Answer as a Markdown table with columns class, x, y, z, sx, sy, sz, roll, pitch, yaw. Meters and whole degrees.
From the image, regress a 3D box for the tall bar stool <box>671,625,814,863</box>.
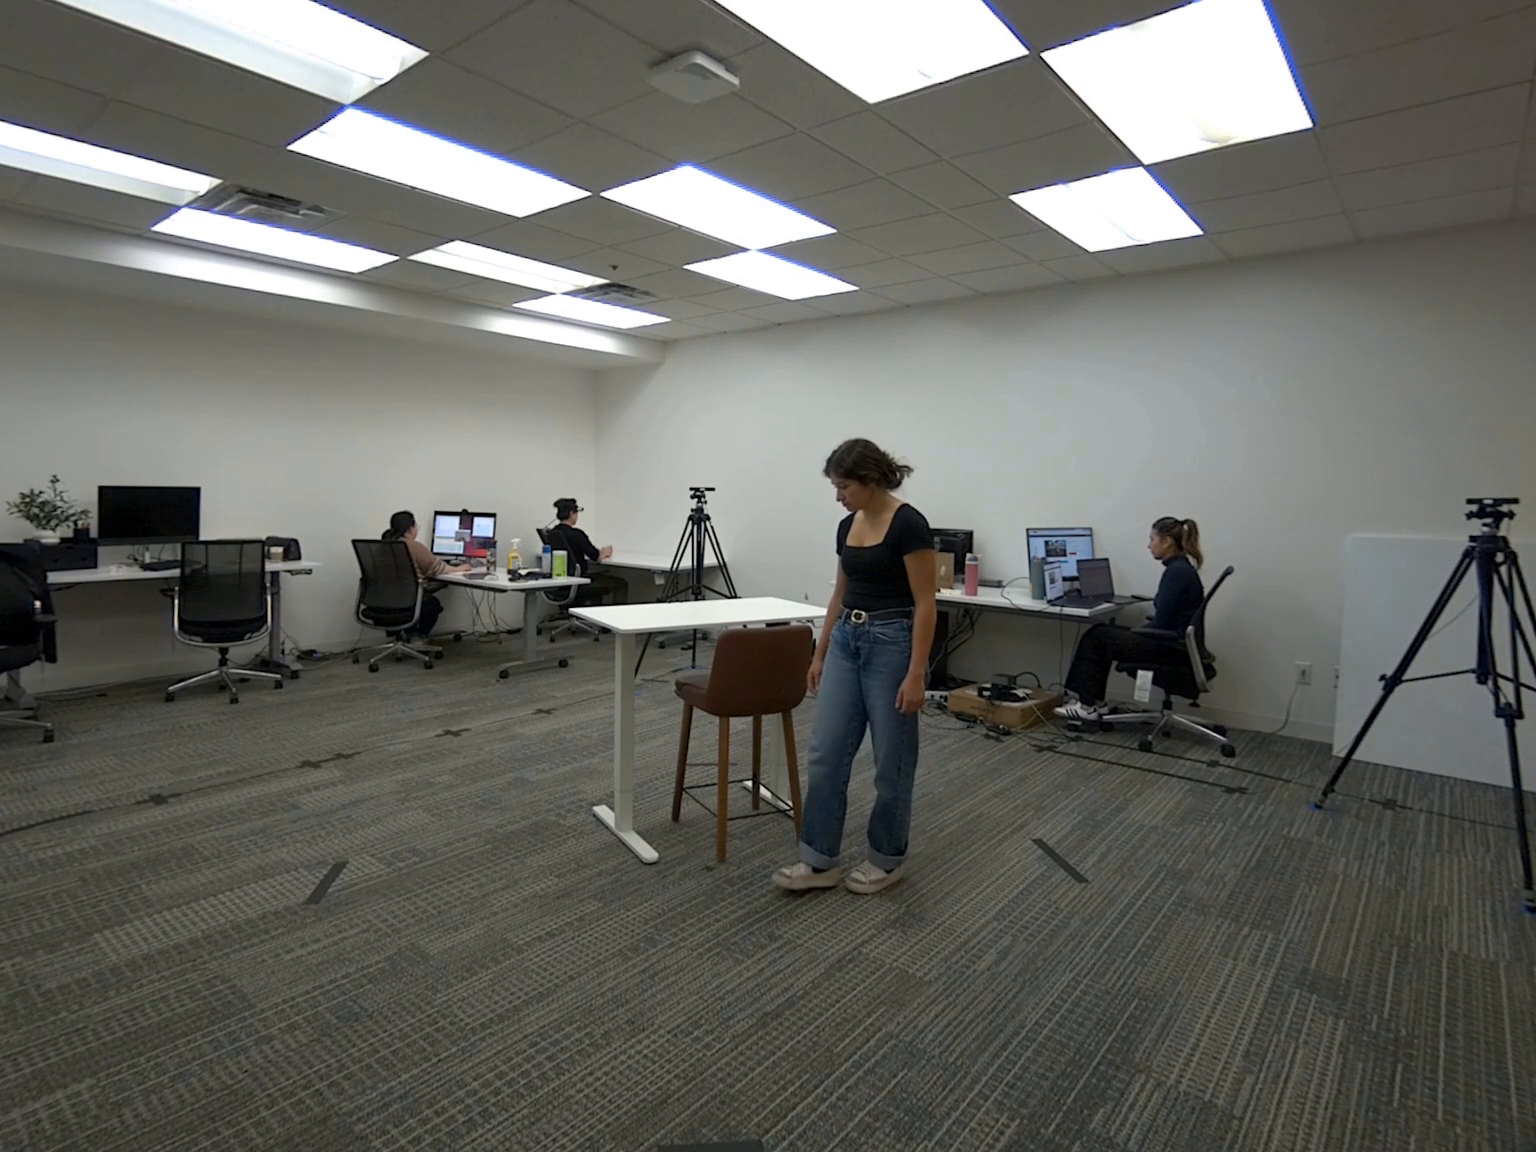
| class | x | y | z | sx | sy | sz | roll | pitch | yaw |
| --- | --- | --- | --- | --- | --- | --- | --- | --- | --- |
| tall bar stool | -0.118 | 0.610 | 3.411 | 0.445 | 0.886 | 0.481 | 0 | 5 | -27 |
